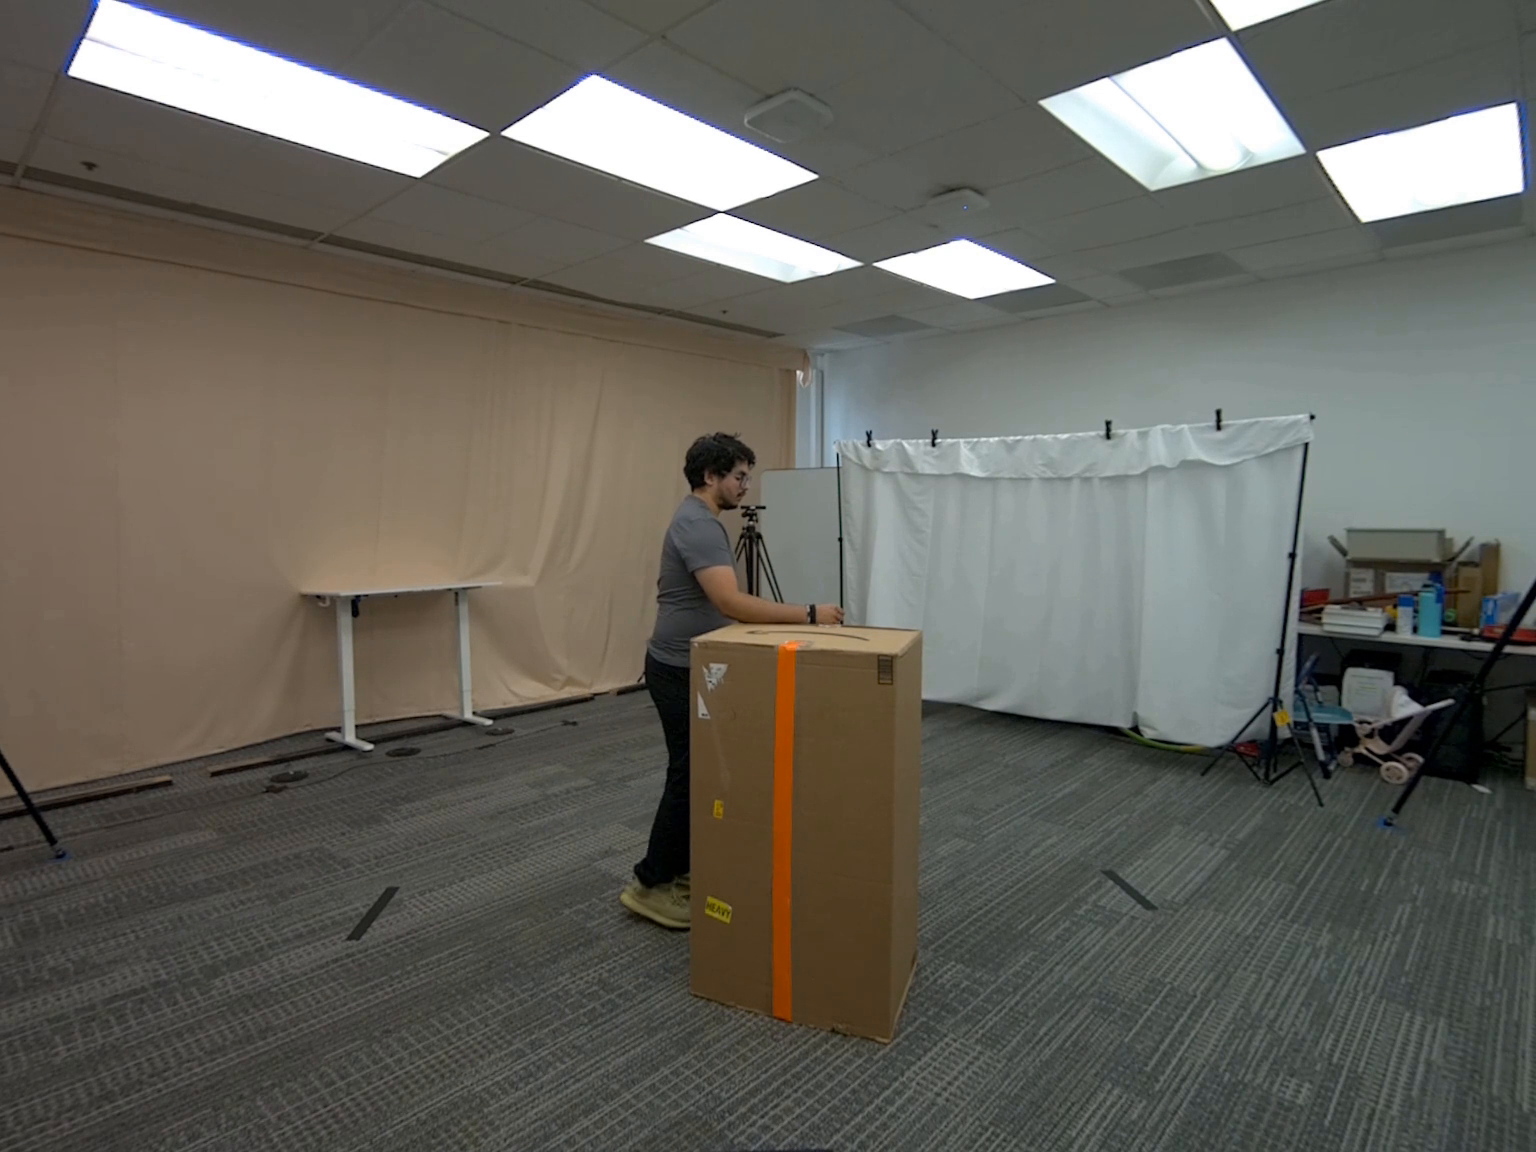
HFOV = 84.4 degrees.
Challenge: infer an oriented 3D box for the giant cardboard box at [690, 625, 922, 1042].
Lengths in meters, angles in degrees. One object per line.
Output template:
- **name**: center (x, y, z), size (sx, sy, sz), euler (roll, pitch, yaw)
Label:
- **giant cardboard box**: center (0.126, 0.680, 2.446), size (0.591, 1.024, 0.417), euler (2, 3, 23)
